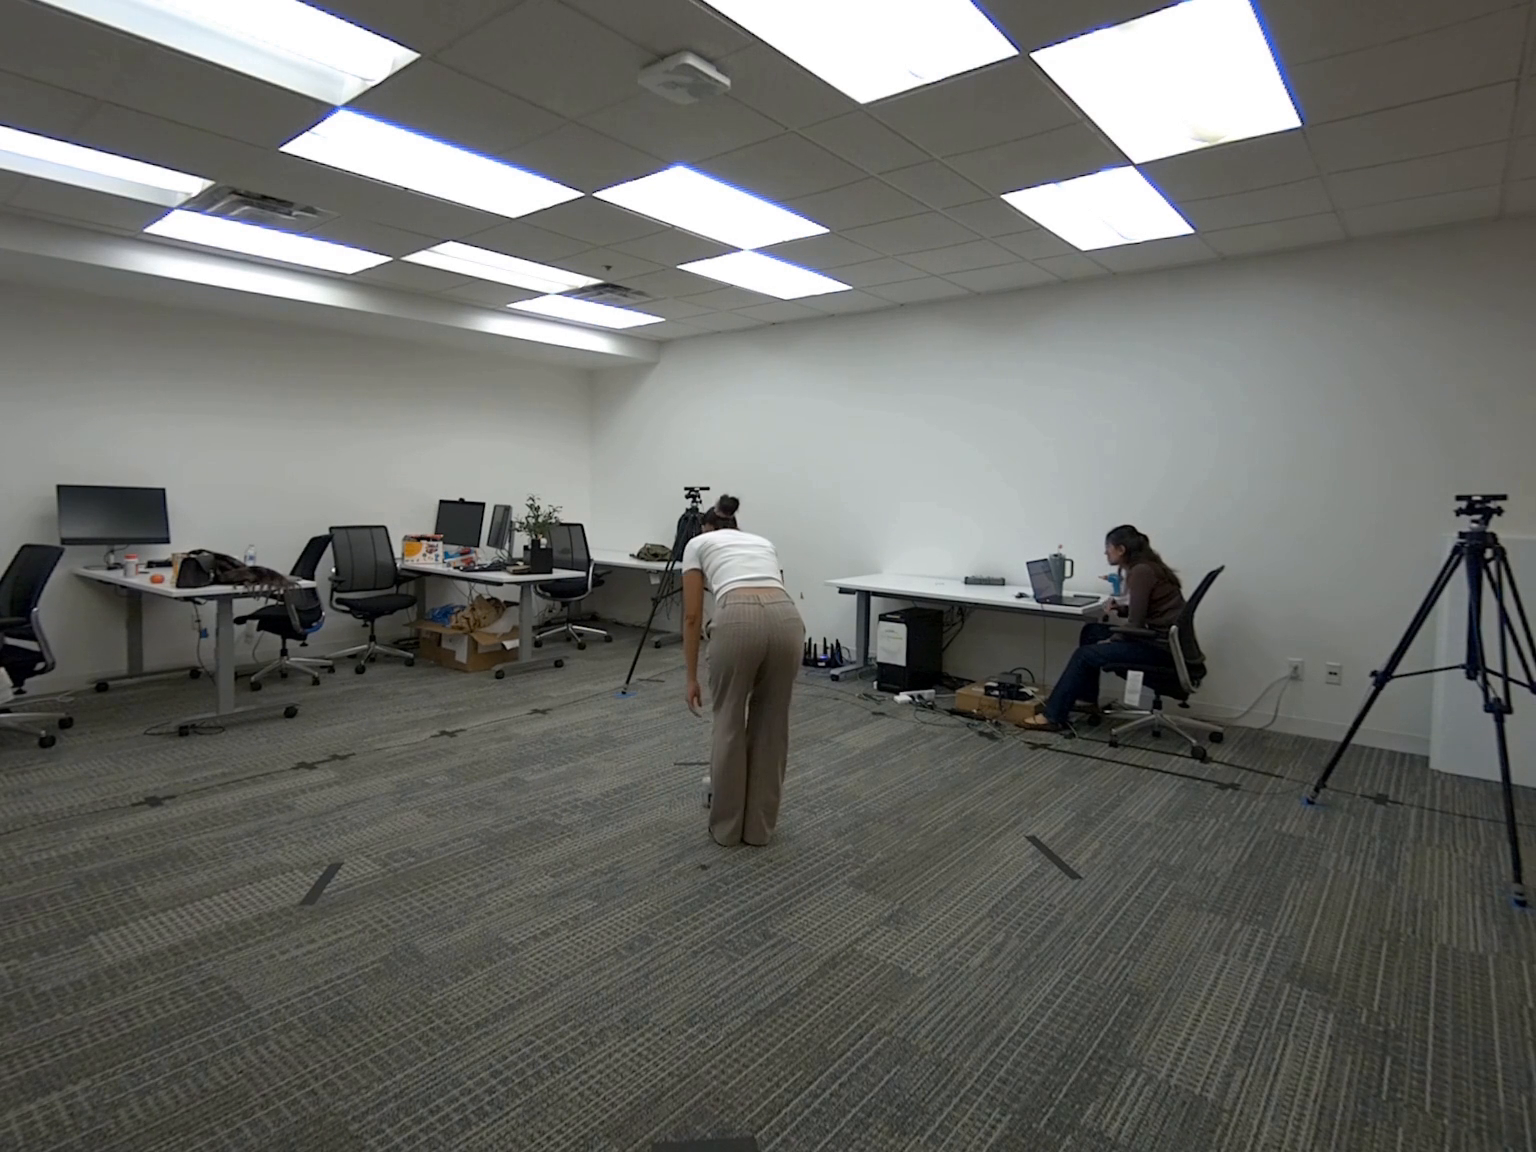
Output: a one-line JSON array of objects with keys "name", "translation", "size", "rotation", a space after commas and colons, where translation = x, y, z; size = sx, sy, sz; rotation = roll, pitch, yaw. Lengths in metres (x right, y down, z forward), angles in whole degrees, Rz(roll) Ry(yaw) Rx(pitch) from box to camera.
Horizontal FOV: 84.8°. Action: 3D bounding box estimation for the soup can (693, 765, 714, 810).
[{"name": "soup can", "translation": [-0.257, 0.940, 3.701], "size": [0.067, 0.121, 0.067], "rotation": [0, 0, -2]}]
